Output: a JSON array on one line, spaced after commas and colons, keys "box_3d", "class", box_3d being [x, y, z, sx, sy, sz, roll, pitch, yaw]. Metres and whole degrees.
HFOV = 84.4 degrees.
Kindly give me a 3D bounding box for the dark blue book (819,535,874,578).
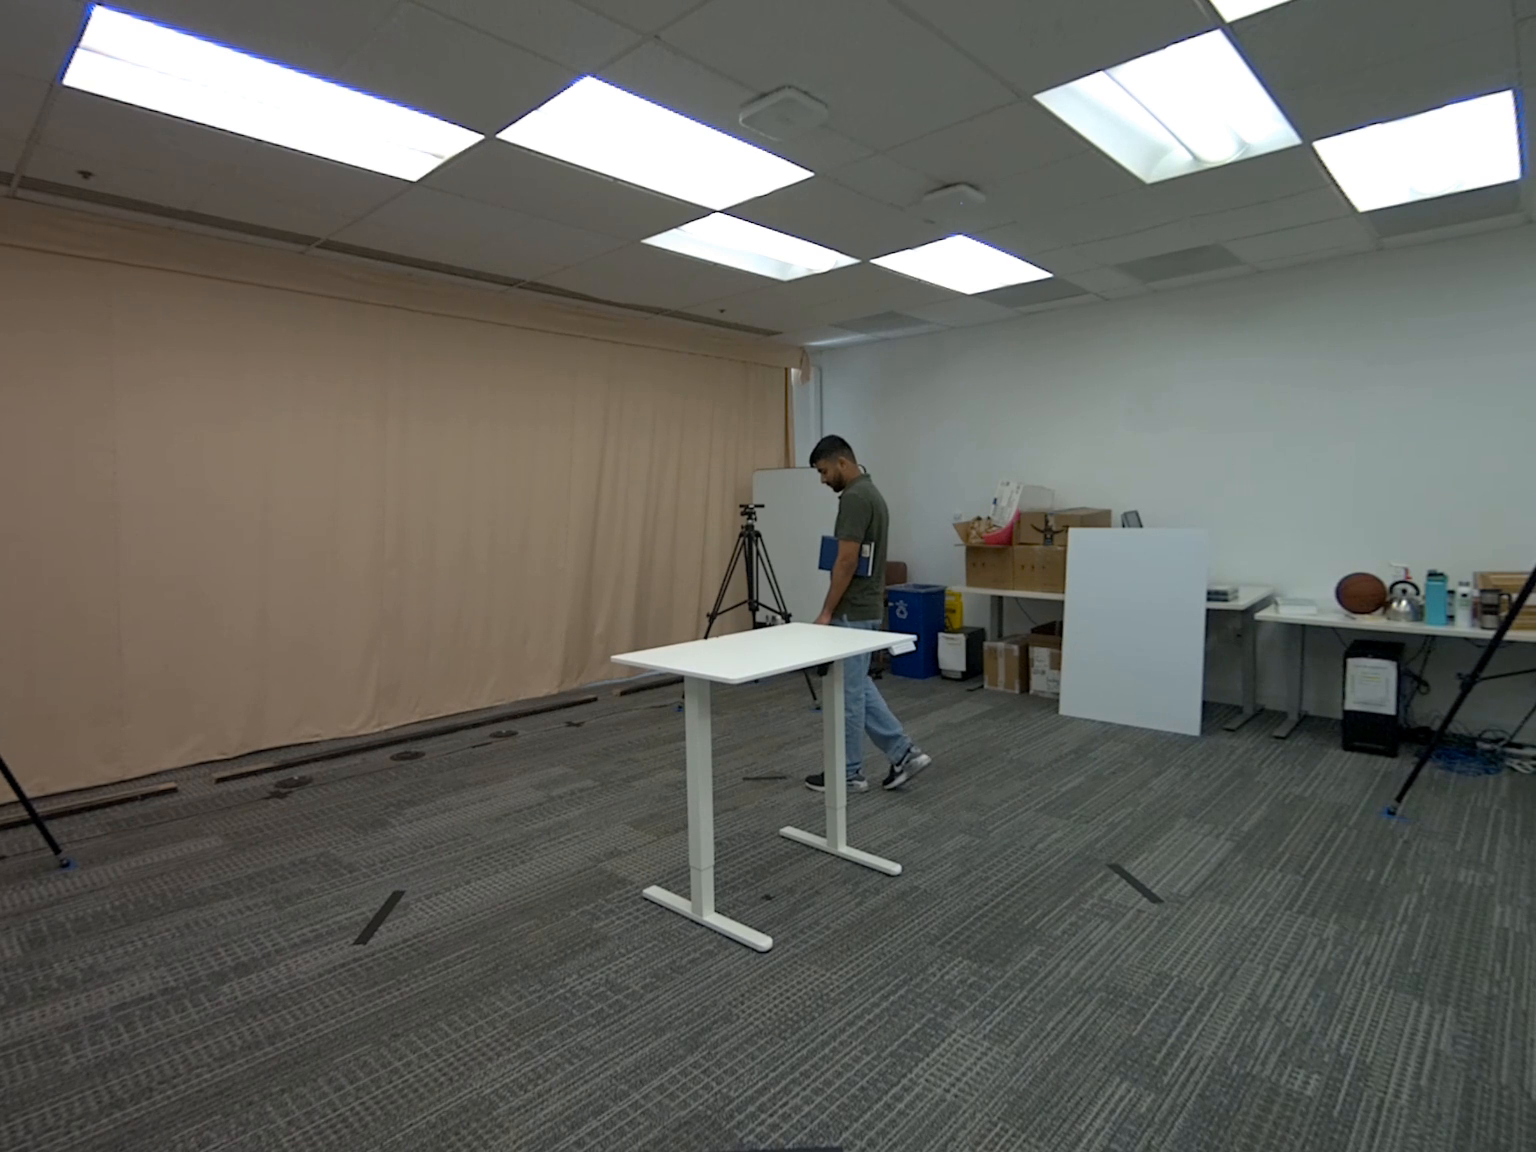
[{"box_3d": [0.368, -0.093, 3.917, 0.251, 0.162, 0.044, 8, 9, 24], "class": "dark blue book"}]
